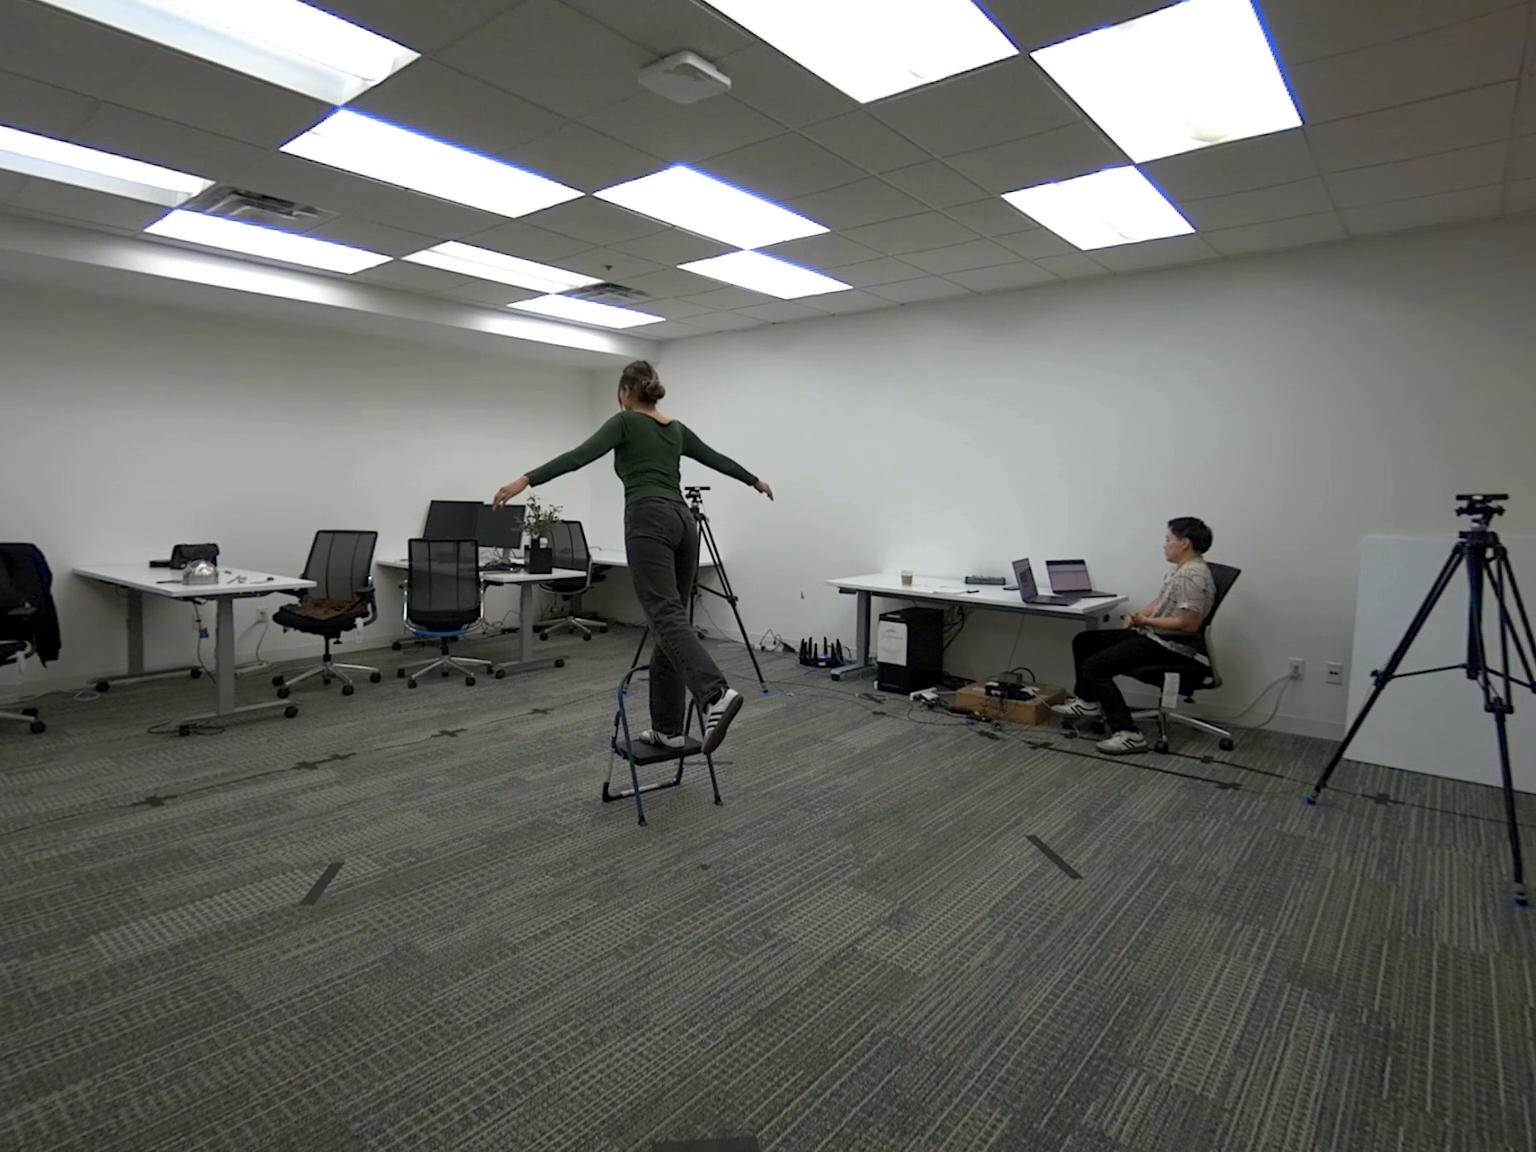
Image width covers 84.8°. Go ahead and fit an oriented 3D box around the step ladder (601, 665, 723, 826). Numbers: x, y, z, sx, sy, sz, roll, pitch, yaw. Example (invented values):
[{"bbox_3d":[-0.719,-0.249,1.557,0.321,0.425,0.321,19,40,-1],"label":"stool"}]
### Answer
[{"bbox_3d":[-0.477,0.698,3.740,0.418,0.604,0.361,-2,4,-40],"label":"step ladder"}]
